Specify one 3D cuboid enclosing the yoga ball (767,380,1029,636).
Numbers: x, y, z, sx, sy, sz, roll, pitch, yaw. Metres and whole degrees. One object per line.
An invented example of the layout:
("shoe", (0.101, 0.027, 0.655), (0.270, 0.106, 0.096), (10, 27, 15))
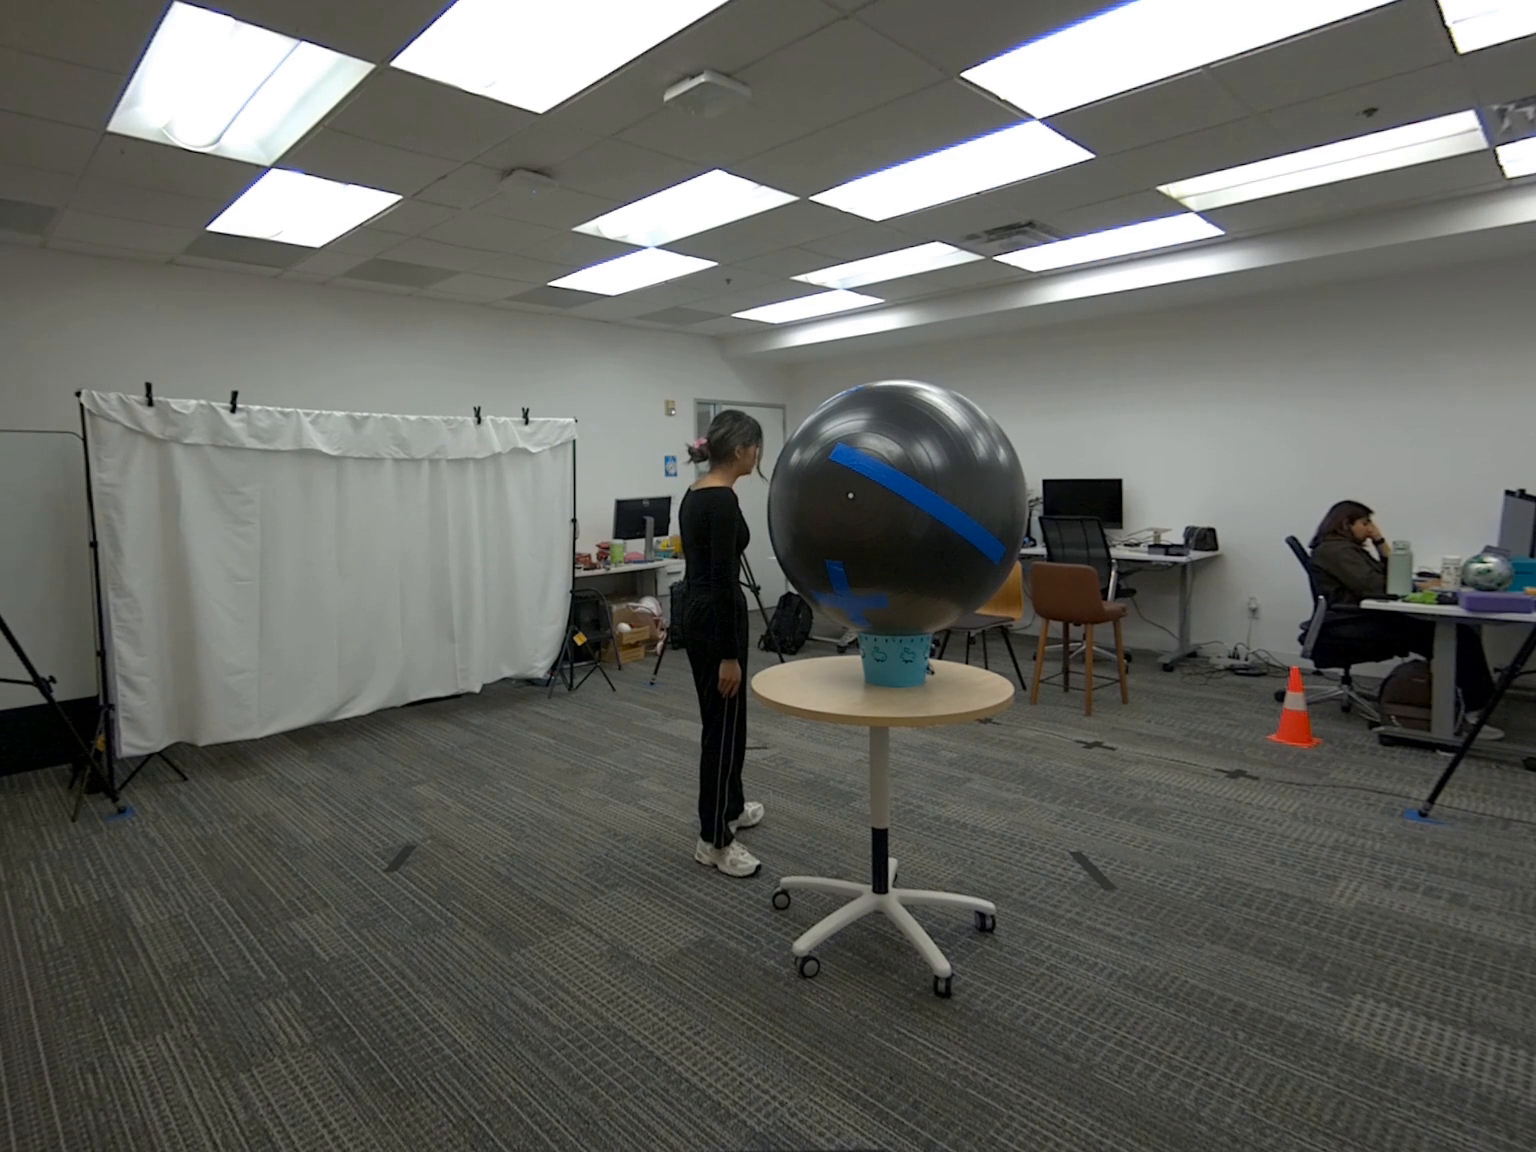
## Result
("yoga ball", (0.375, -0.195, 2.542), (0.757, 0.755, 0.762), (-1, 5, -2))
